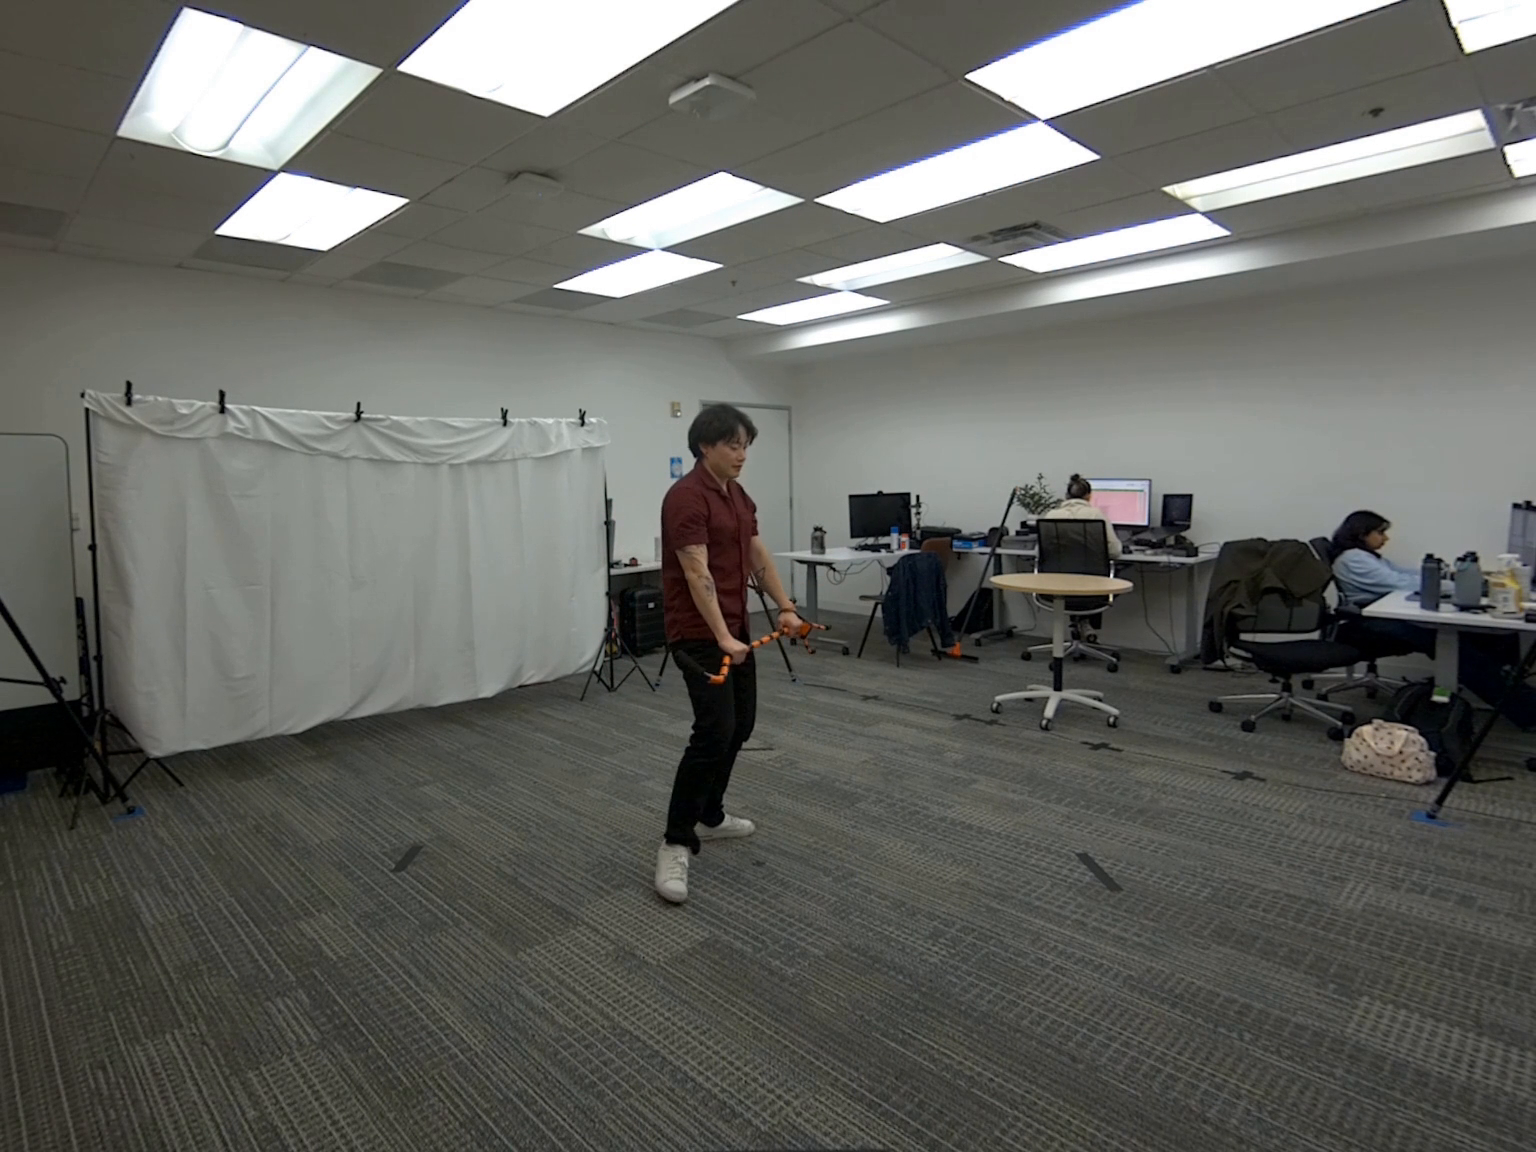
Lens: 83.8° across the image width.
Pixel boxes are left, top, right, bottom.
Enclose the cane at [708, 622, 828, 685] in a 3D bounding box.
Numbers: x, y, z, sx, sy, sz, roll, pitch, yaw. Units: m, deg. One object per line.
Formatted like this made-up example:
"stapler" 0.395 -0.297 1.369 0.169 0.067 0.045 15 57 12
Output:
"cane" -0.035 0.254 3.042 0.211 0.151 0.891 34 19 17
